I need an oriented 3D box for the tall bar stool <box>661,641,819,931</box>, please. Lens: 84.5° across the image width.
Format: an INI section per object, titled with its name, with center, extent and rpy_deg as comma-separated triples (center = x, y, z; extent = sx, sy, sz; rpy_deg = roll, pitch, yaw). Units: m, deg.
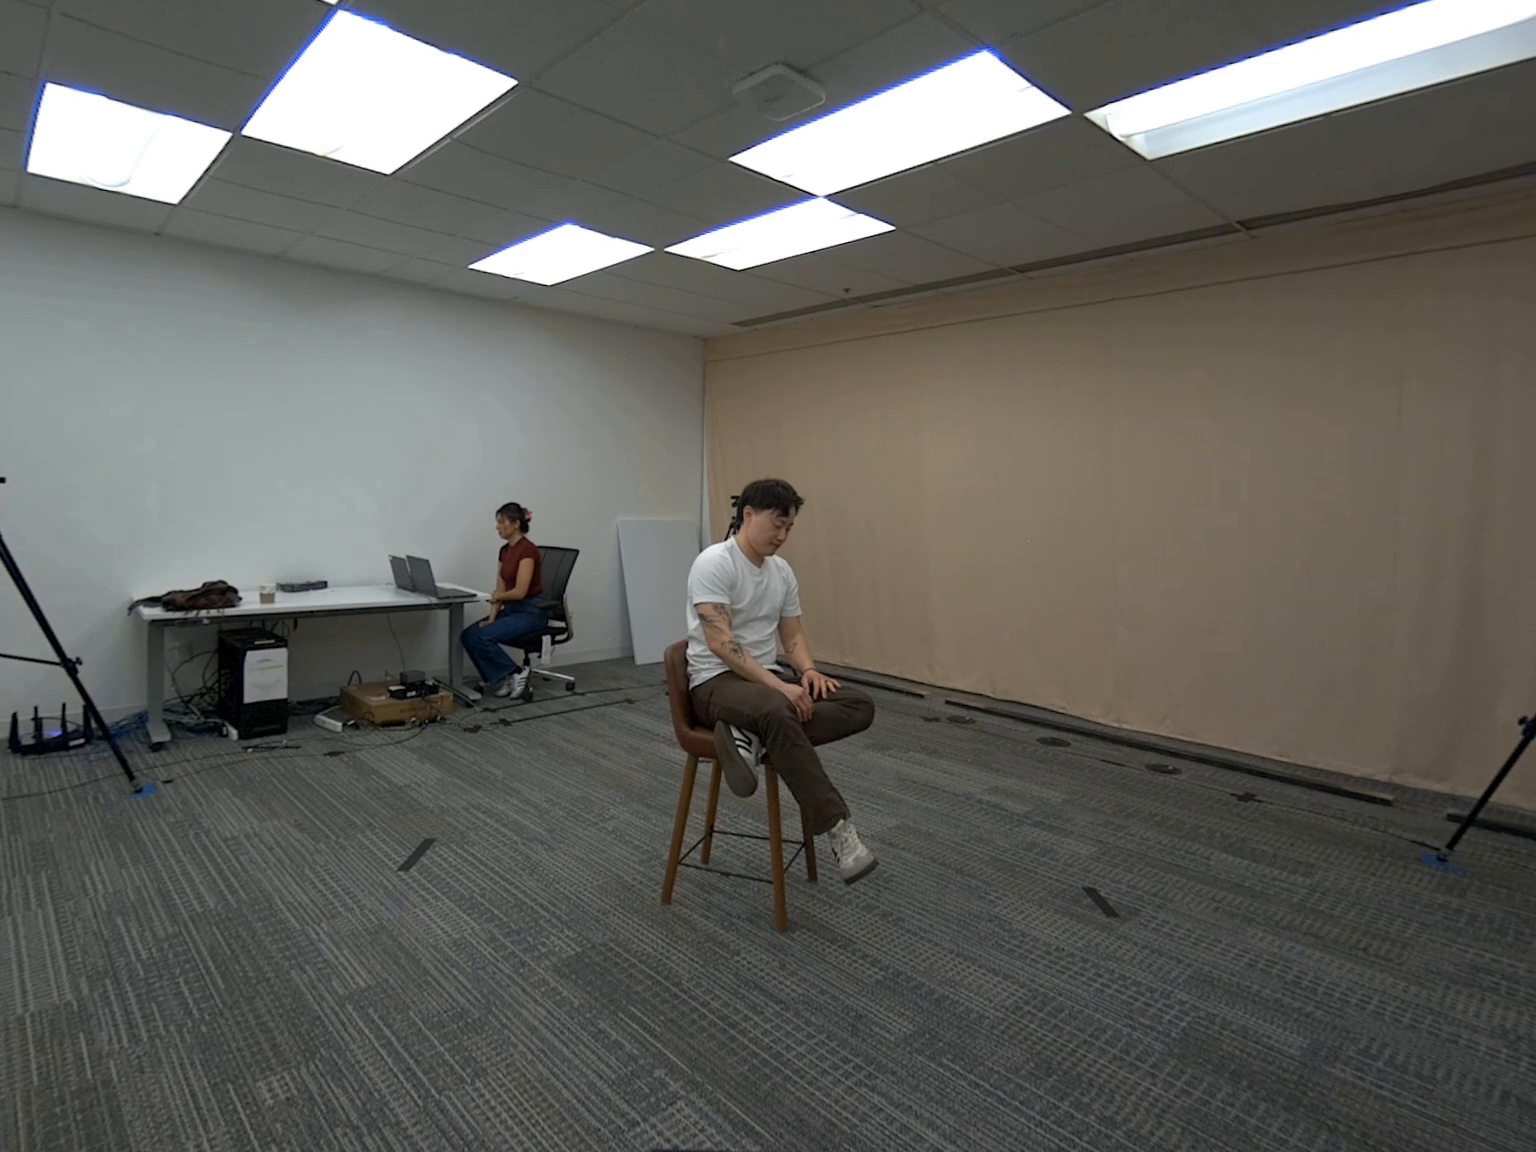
[tall bar stool]
center = -0.106, 0.691, 2.944
extent = 0.475, 0.888, 0.450
rpy_deg = 0, 3, 21
